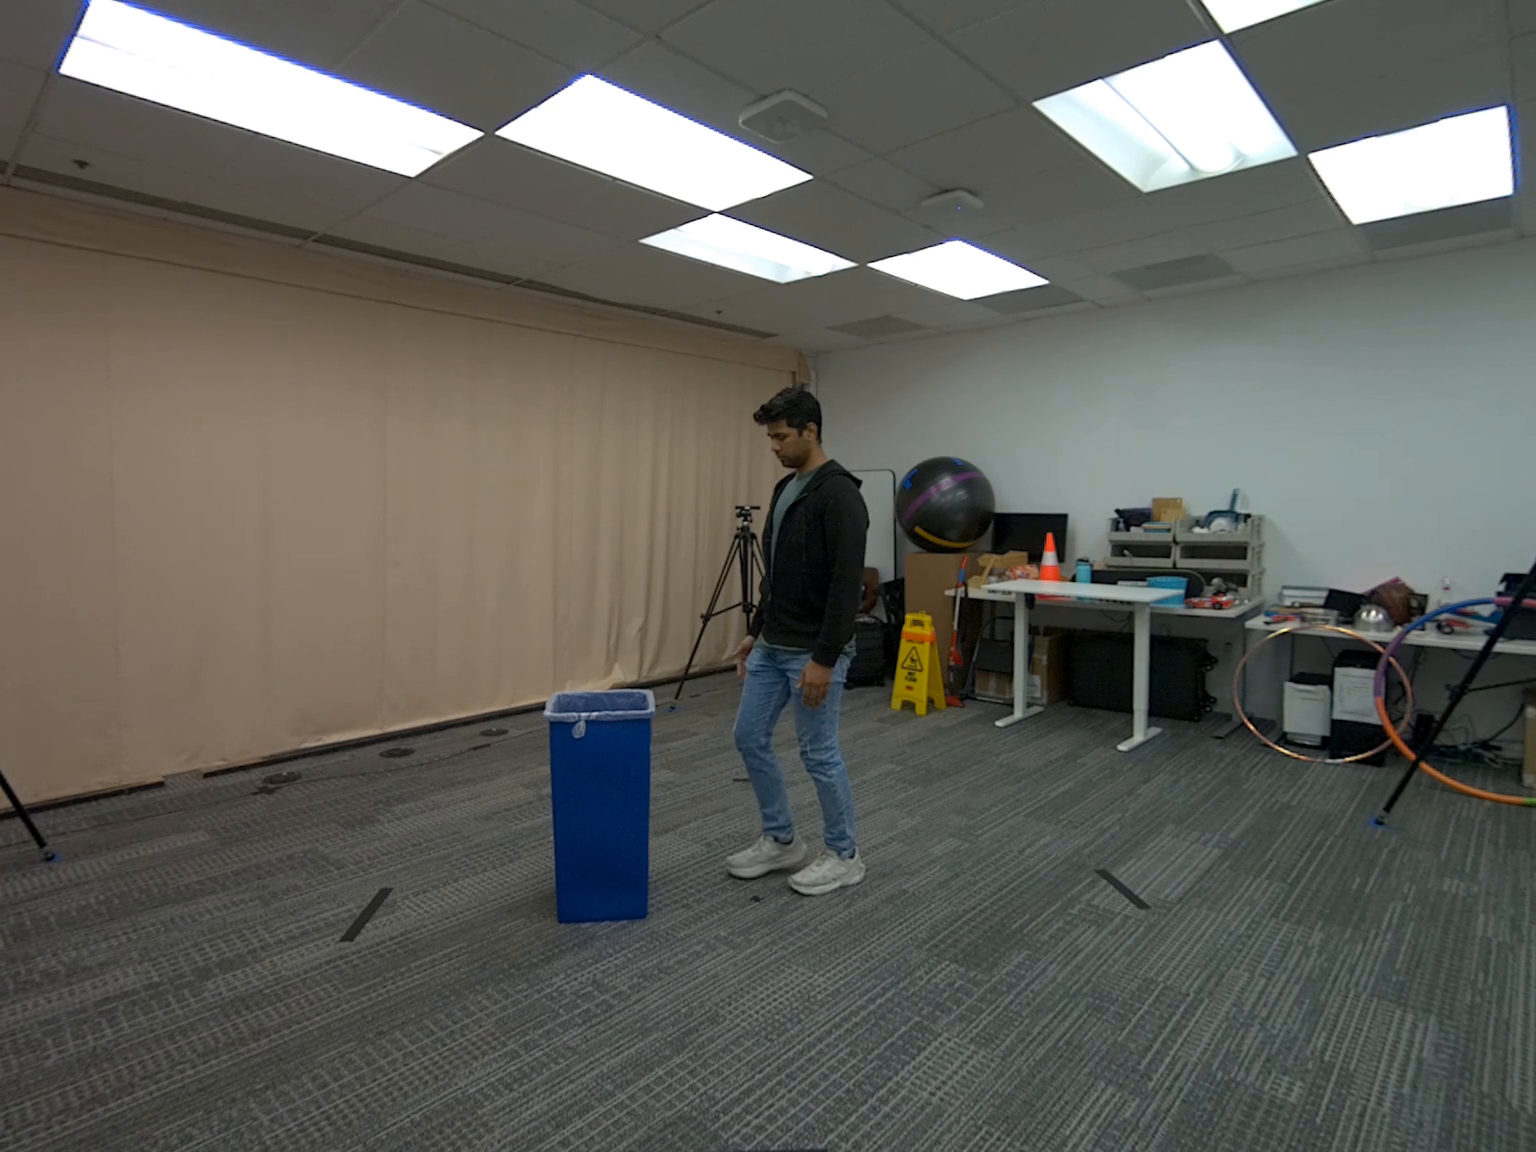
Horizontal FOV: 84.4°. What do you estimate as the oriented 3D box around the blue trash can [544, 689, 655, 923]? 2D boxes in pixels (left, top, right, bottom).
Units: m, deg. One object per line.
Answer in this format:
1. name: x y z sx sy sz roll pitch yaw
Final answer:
1. blue trash can: -0.577 0.796 2.969 0.371 0.712 0.382 -1 2 -8
